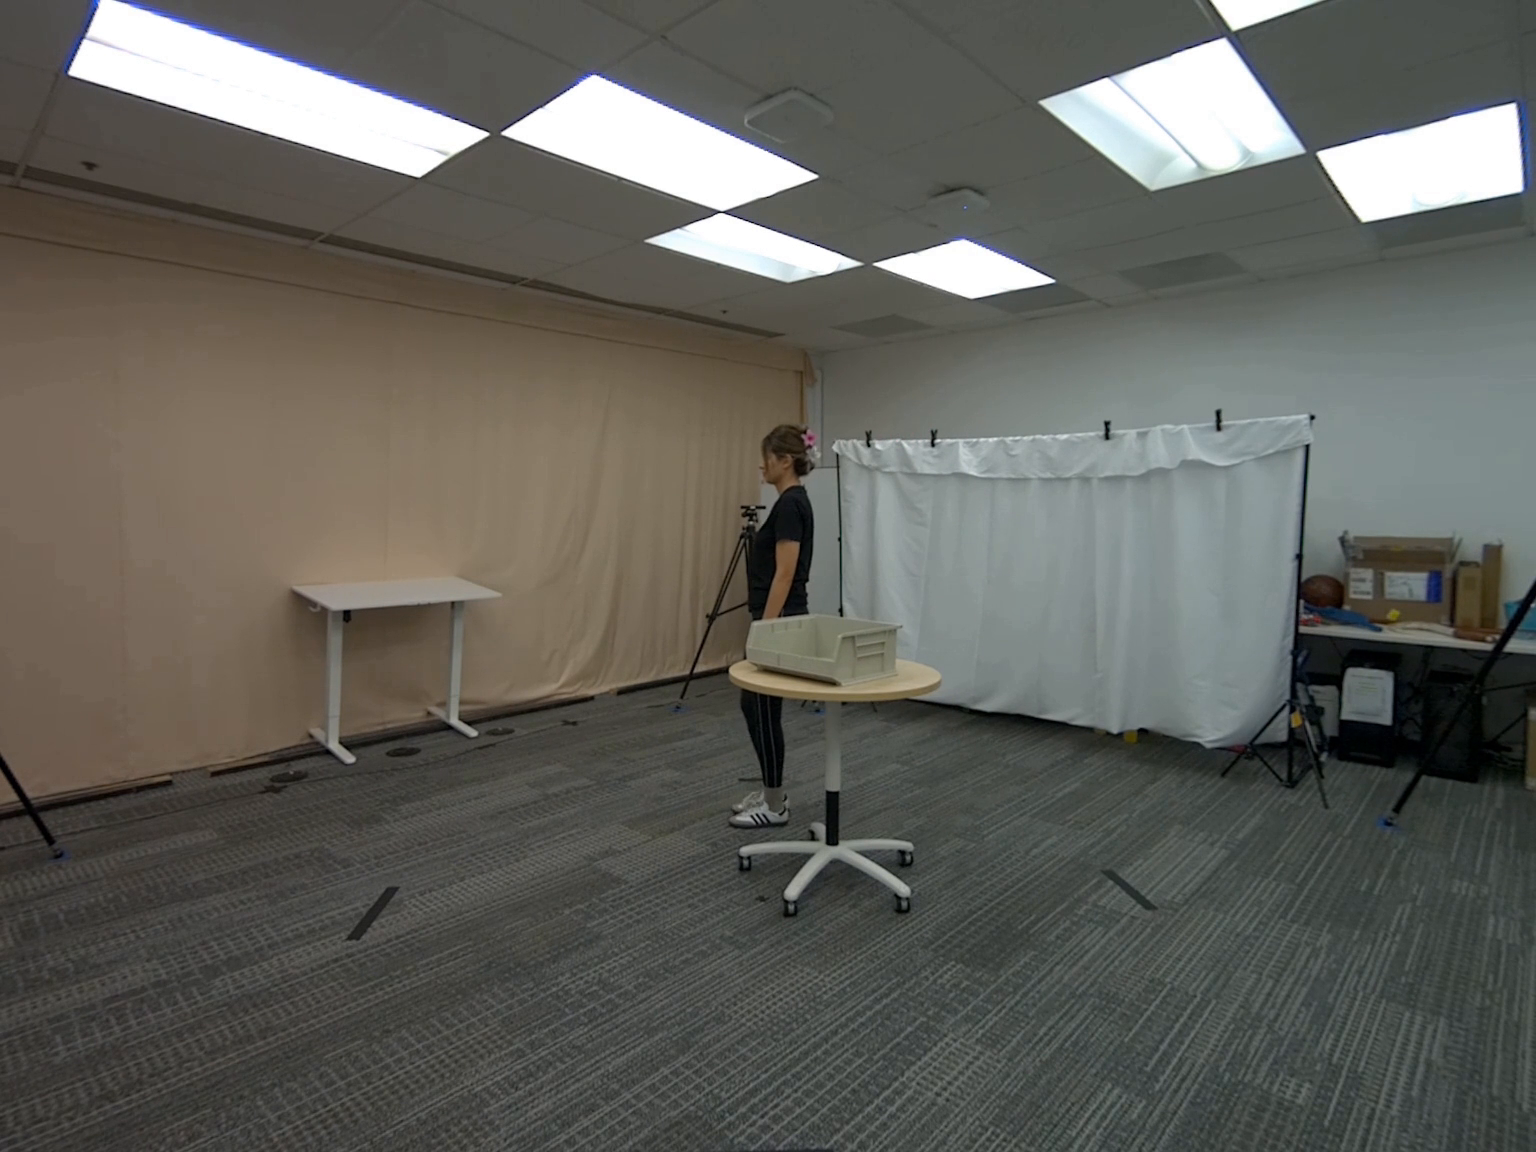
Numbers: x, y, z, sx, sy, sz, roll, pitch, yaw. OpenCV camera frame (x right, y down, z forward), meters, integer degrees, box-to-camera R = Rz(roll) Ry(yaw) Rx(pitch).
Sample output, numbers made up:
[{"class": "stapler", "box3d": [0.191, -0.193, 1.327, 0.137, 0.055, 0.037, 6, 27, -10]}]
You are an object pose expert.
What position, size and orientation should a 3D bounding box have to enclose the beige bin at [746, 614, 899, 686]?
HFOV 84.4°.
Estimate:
[{"class": "beige bin", "box3d": [0.203, 0.264, 3.040, 0.365, 0.189, 0.436, -2, 5, -44]}]
